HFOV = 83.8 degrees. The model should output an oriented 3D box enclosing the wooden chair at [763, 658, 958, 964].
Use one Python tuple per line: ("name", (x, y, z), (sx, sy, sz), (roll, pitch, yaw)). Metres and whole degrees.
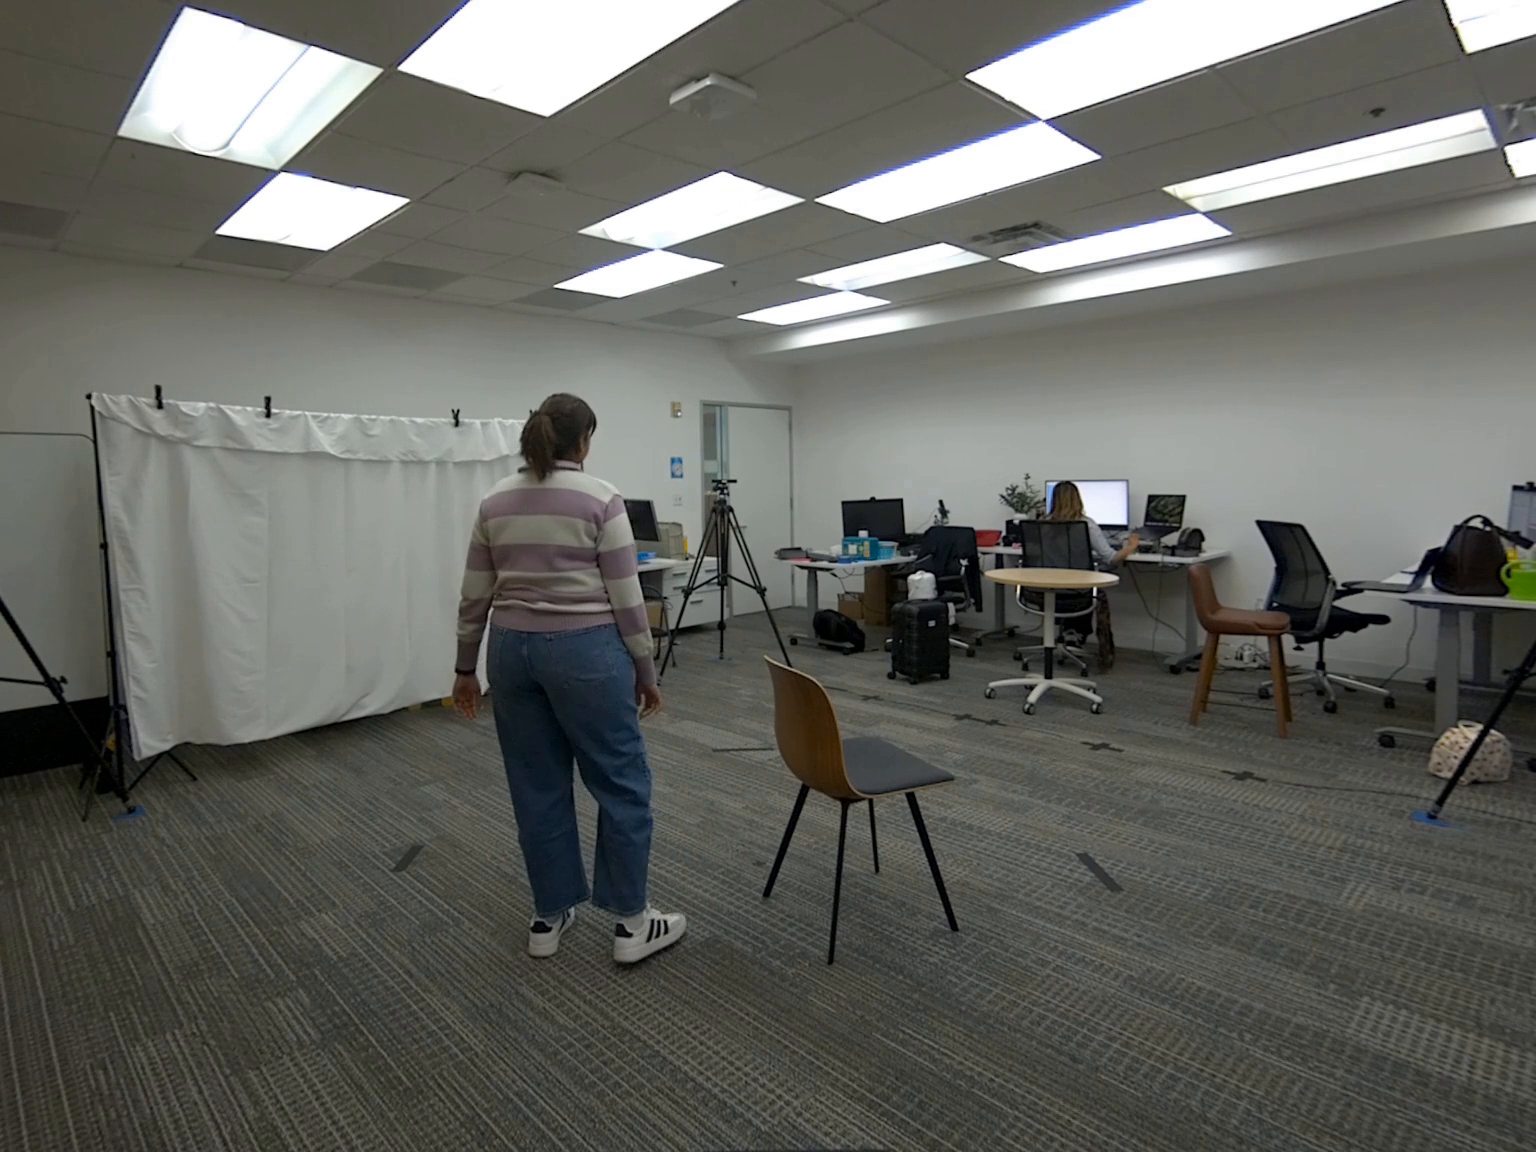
("wooden chair", (0.287, 0.659, 2.715), (0.513, 0.872, 0.490), (-7, 6, -24))
